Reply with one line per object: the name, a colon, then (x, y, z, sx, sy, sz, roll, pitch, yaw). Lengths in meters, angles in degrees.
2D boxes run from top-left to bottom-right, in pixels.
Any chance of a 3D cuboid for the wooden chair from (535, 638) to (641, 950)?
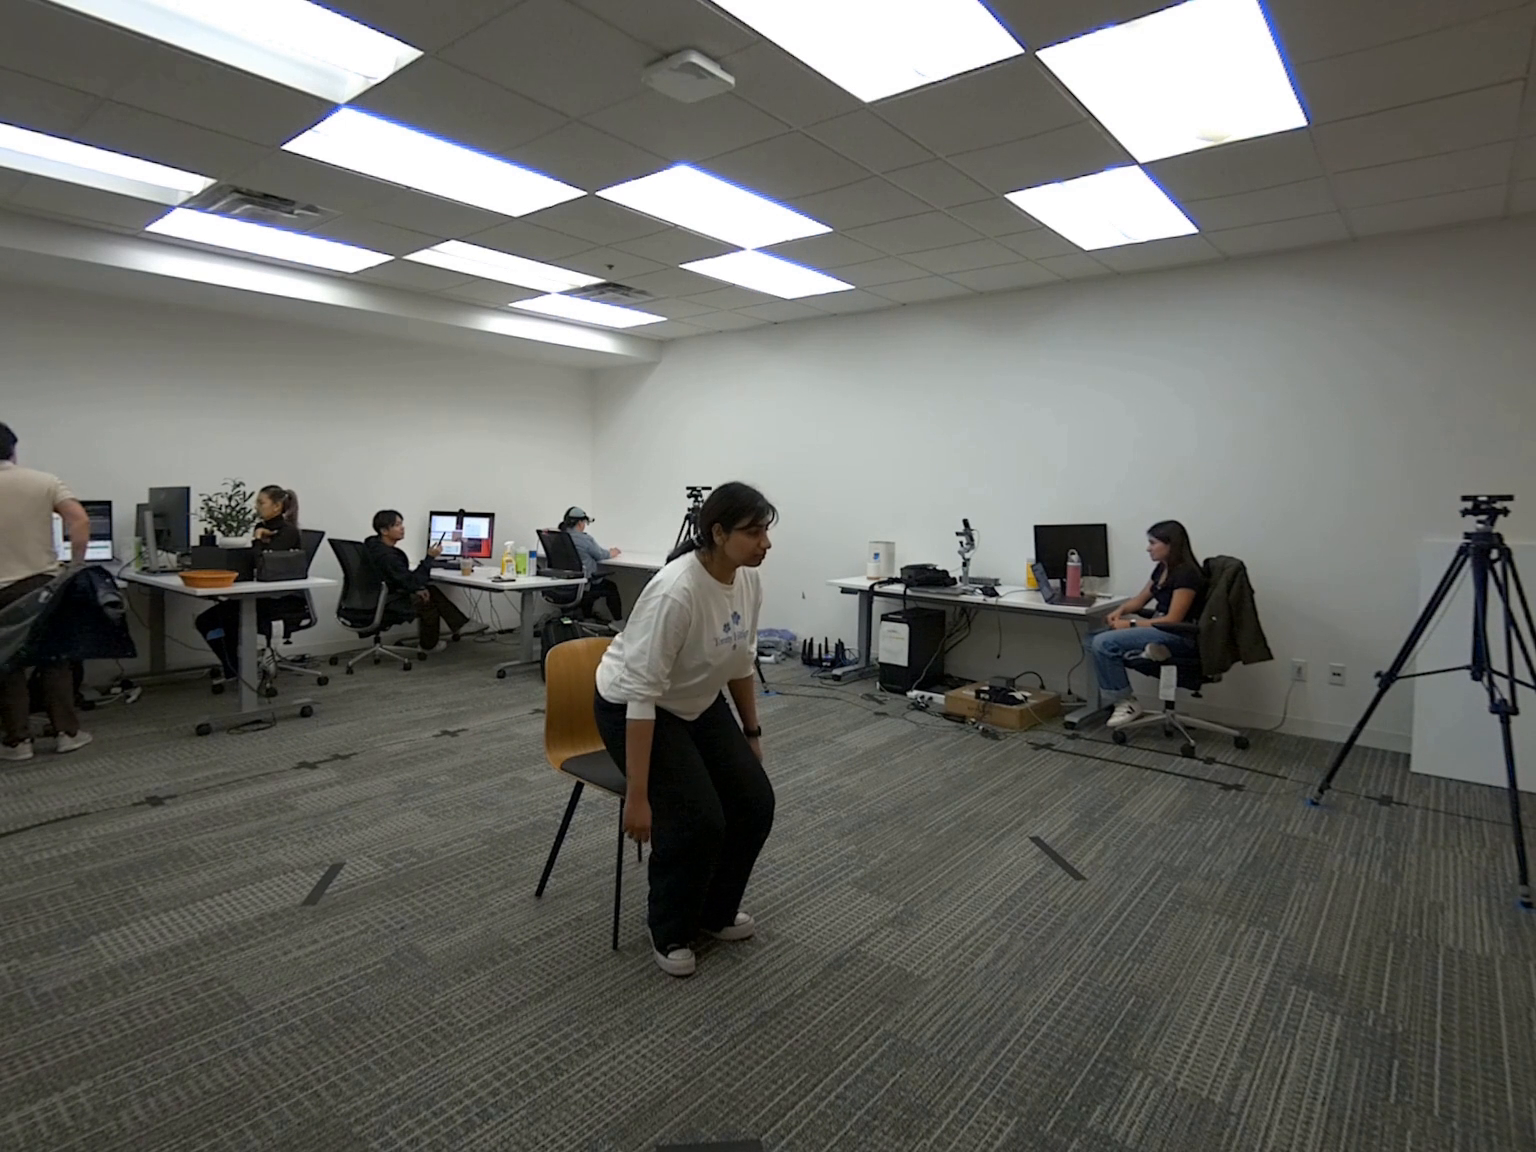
wooden chair: (-0.458, 0.661, 2.831, 0.463, 0.877, 0.539, -2, 0, -45)
